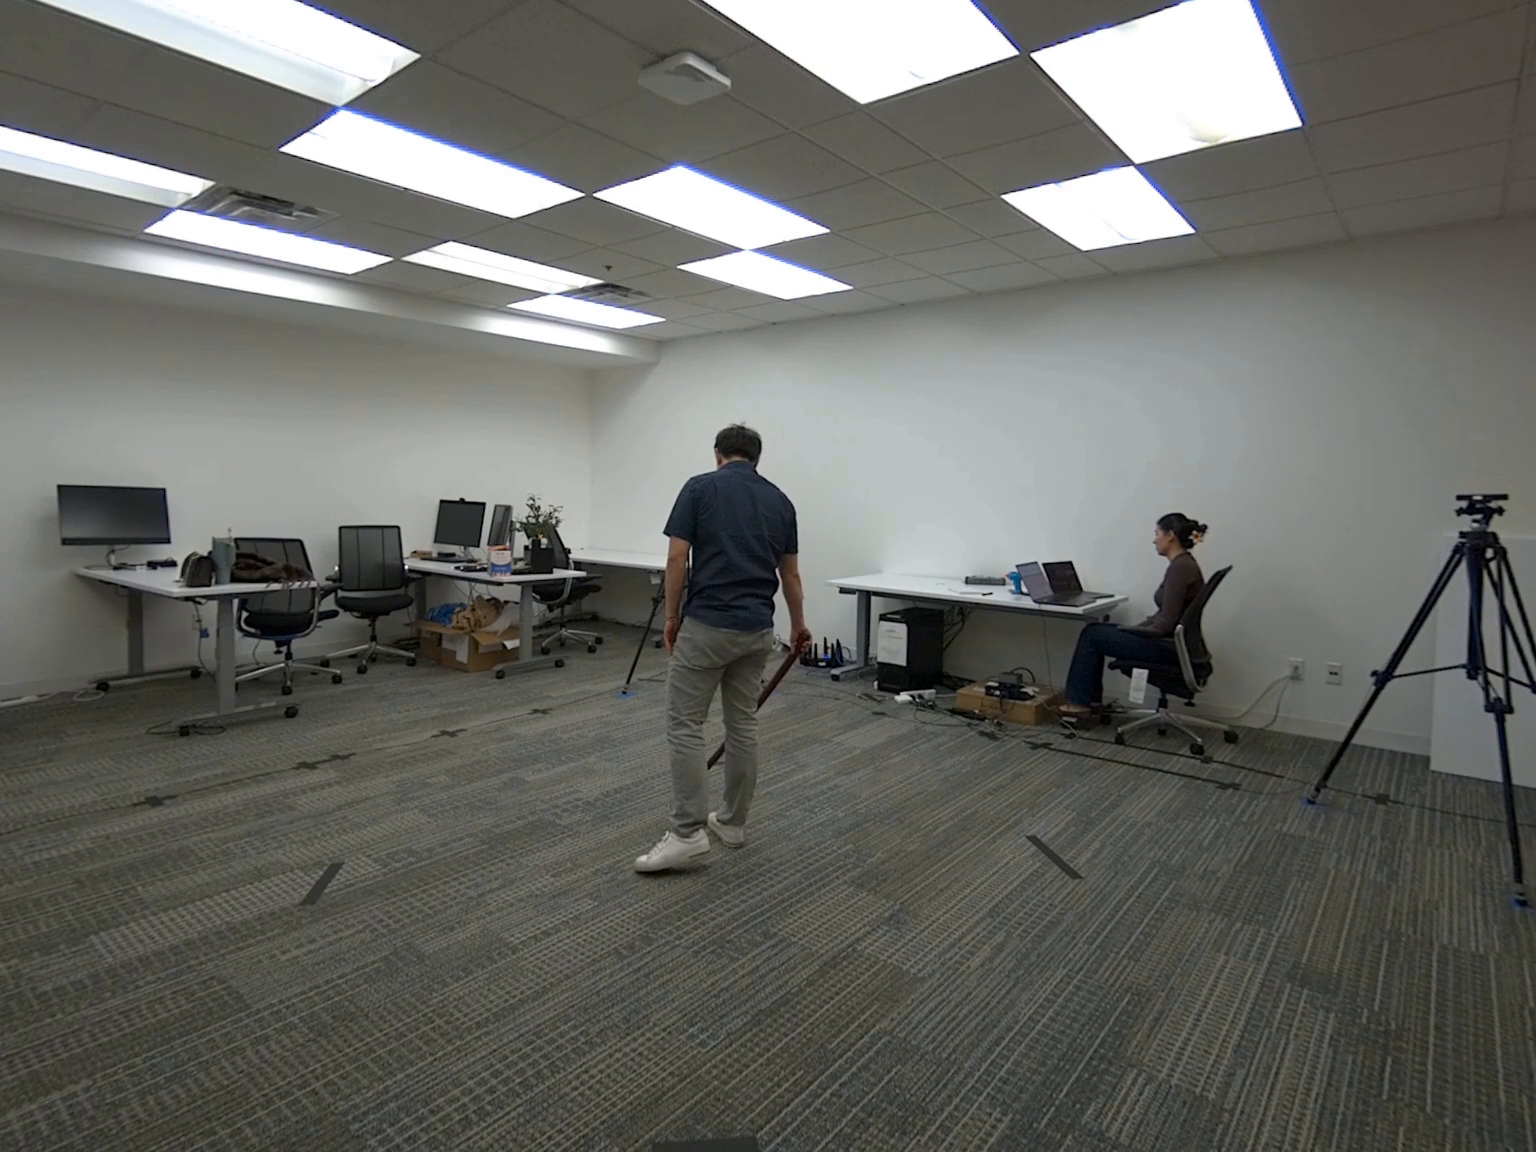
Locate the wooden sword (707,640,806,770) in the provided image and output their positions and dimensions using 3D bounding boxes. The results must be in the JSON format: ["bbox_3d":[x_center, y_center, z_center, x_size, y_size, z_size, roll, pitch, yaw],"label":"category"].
[{"bbox_3d":[-0.097,0.607,3.738,0.051,1.021,0.024,38,27,1],"label":"wooden sword"}]
